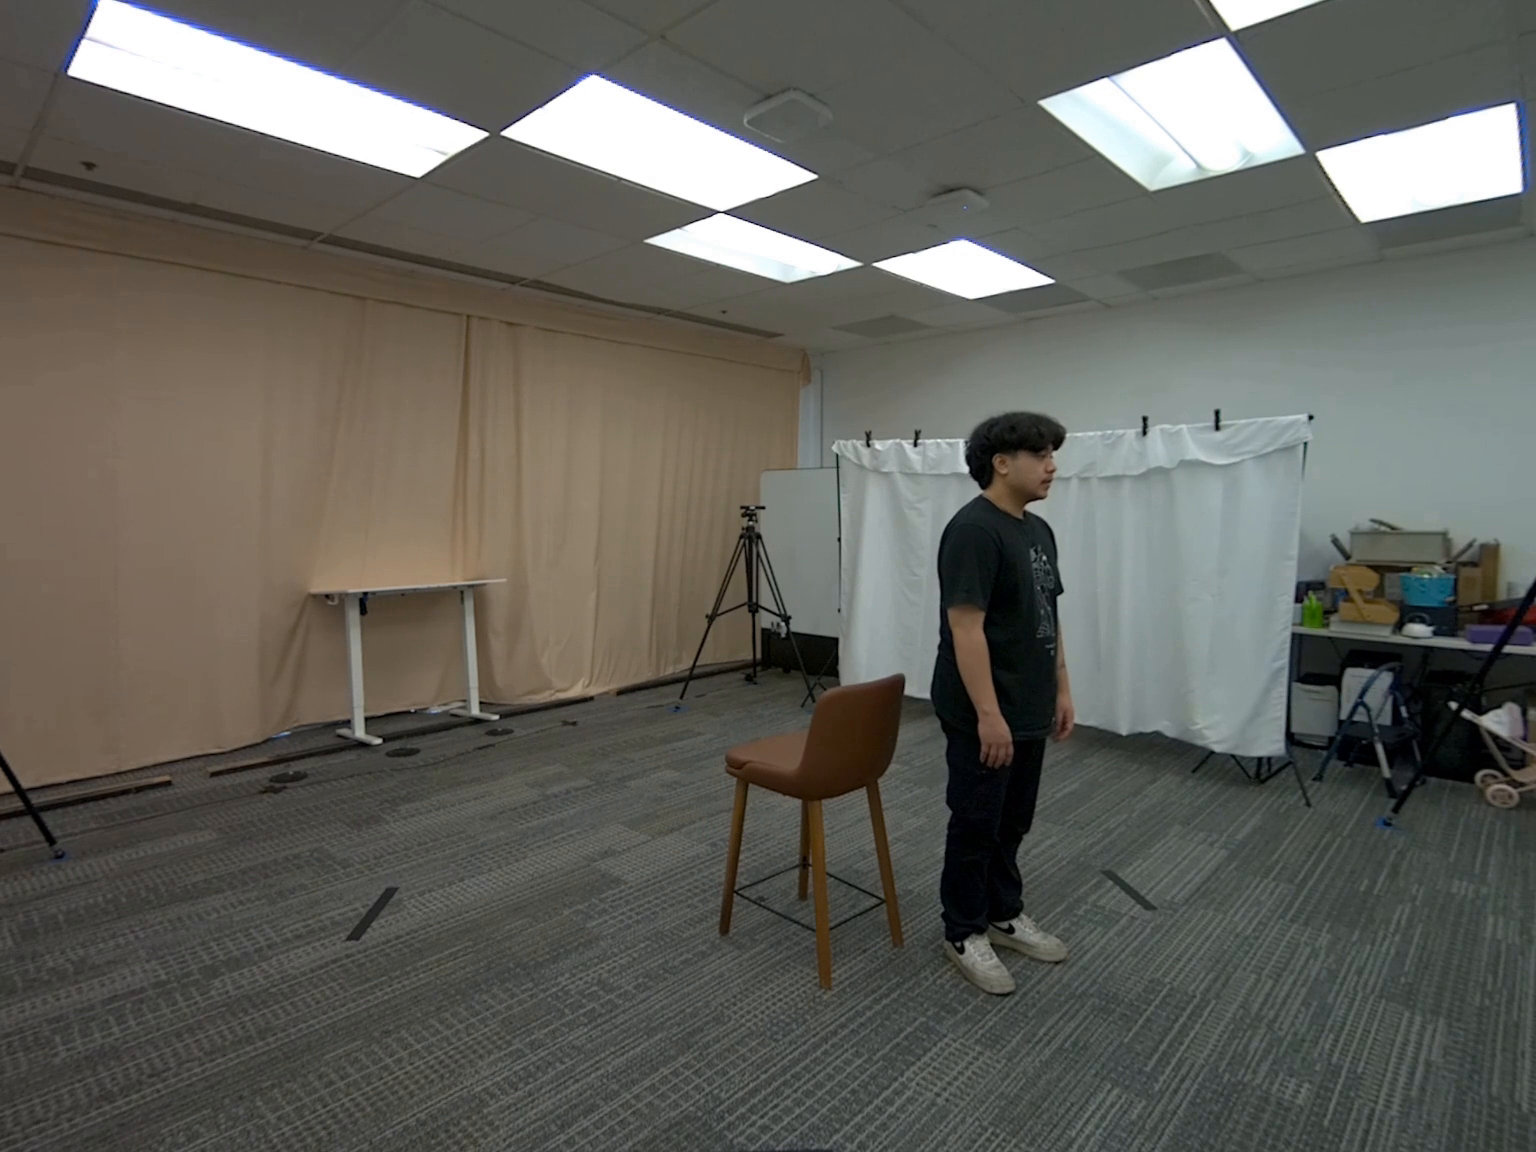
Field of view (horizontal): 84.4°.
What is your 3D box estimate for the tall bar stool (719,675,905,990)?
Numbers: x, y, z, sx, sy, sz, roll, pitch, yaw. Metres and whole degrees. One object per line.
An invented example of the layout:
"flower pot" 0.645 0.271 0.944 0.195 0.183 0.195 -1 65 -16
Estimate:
"tall bar stool" 0.152 0.731 2.677 0.442 0.887 0.484 -3 7 -43
